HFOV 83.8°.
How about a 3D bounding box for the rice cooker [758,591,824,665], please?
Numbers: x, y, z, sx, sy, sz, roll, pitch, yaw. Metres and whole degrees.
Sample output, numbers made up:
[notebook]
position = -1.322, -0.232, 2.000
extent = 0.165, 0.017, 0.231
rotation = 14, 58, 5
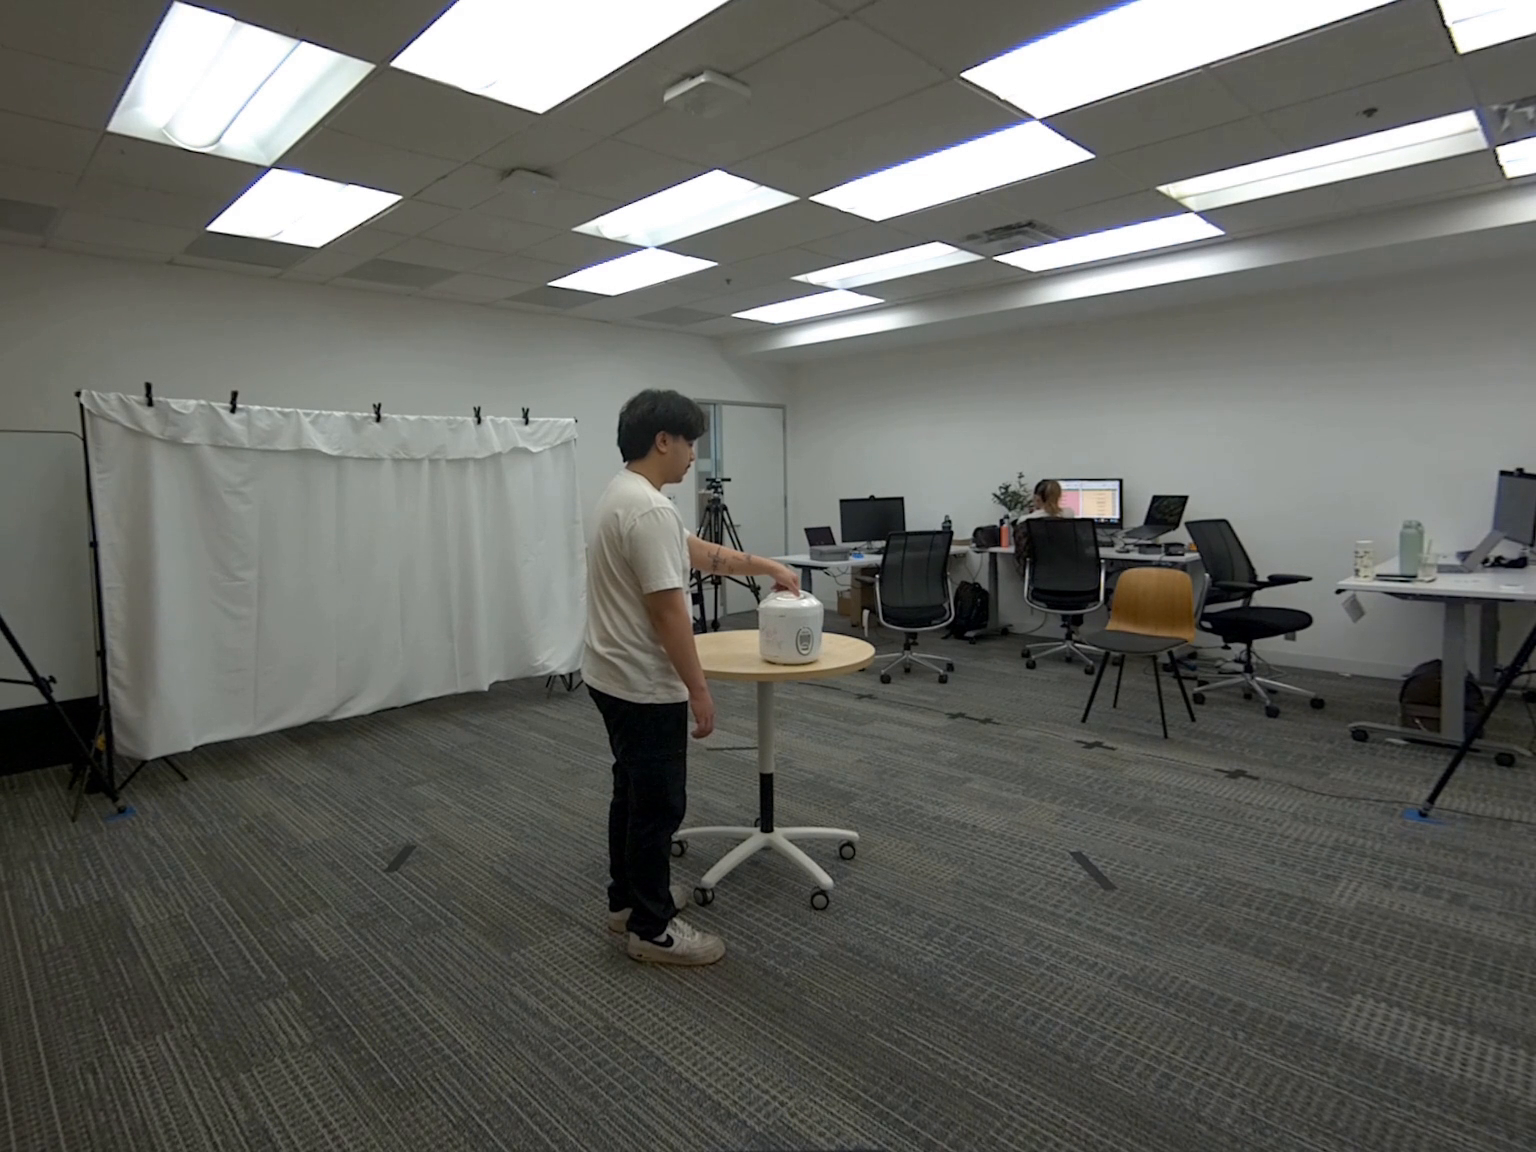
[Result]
[rice cooker]
position = 0.080, 0.160, 2.803
extent = 0.217, 0.232, 0.222
rotation = -3, 4, -21
